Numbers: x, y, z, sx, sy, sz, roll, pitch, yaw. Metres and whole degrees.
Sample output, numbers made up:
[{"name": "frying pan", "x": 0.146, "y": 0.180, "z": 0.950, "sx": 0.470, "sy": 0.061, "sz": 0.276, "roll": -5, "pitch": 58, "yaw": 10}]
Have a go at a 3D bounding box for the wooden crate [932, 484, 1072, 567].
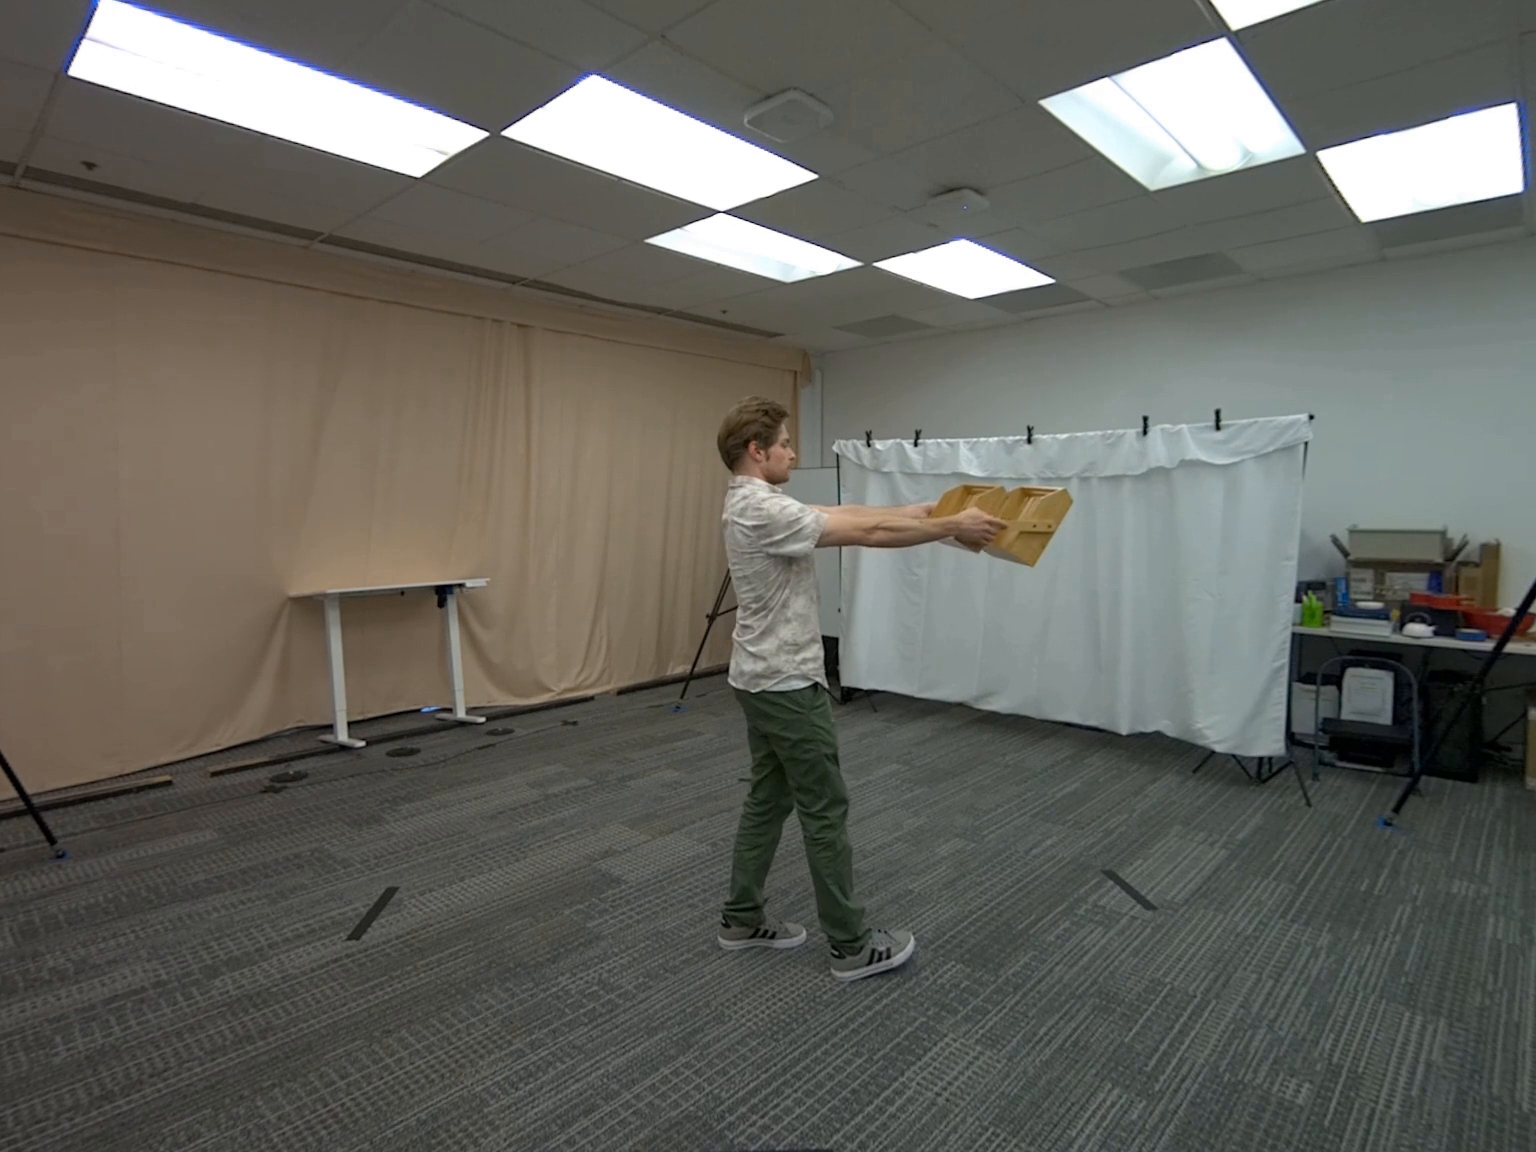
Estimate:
[{"name": "wooden crate", "x": 0.718, "y": -0.197, "z": 2.639, "sx": 0.271, "sy": 0.302, "sz": 0.327, "roll": 31, "pitch": 4, "yaw": -7}]
